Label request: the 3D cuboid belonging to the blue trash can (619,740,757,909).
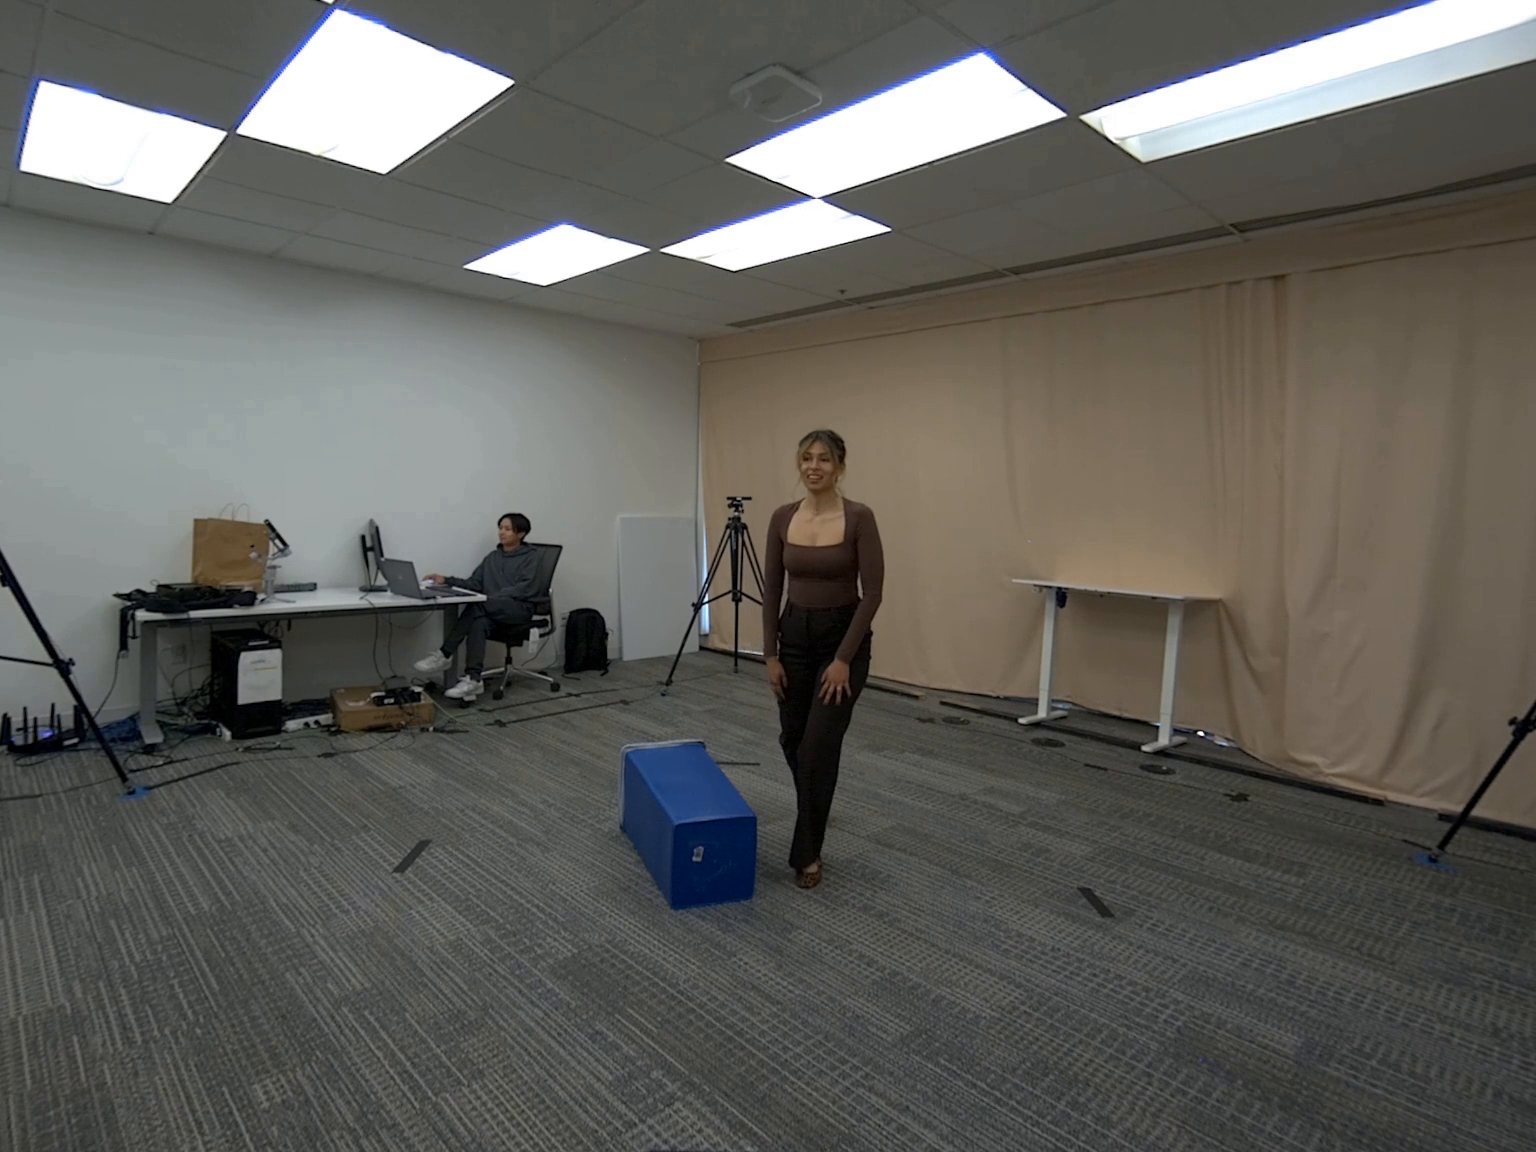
[{"bbox_3d":[-0.322,0.921,3.194,0.368,0.376,0.727,1,6,-20],"label":"blue trash can"}]
